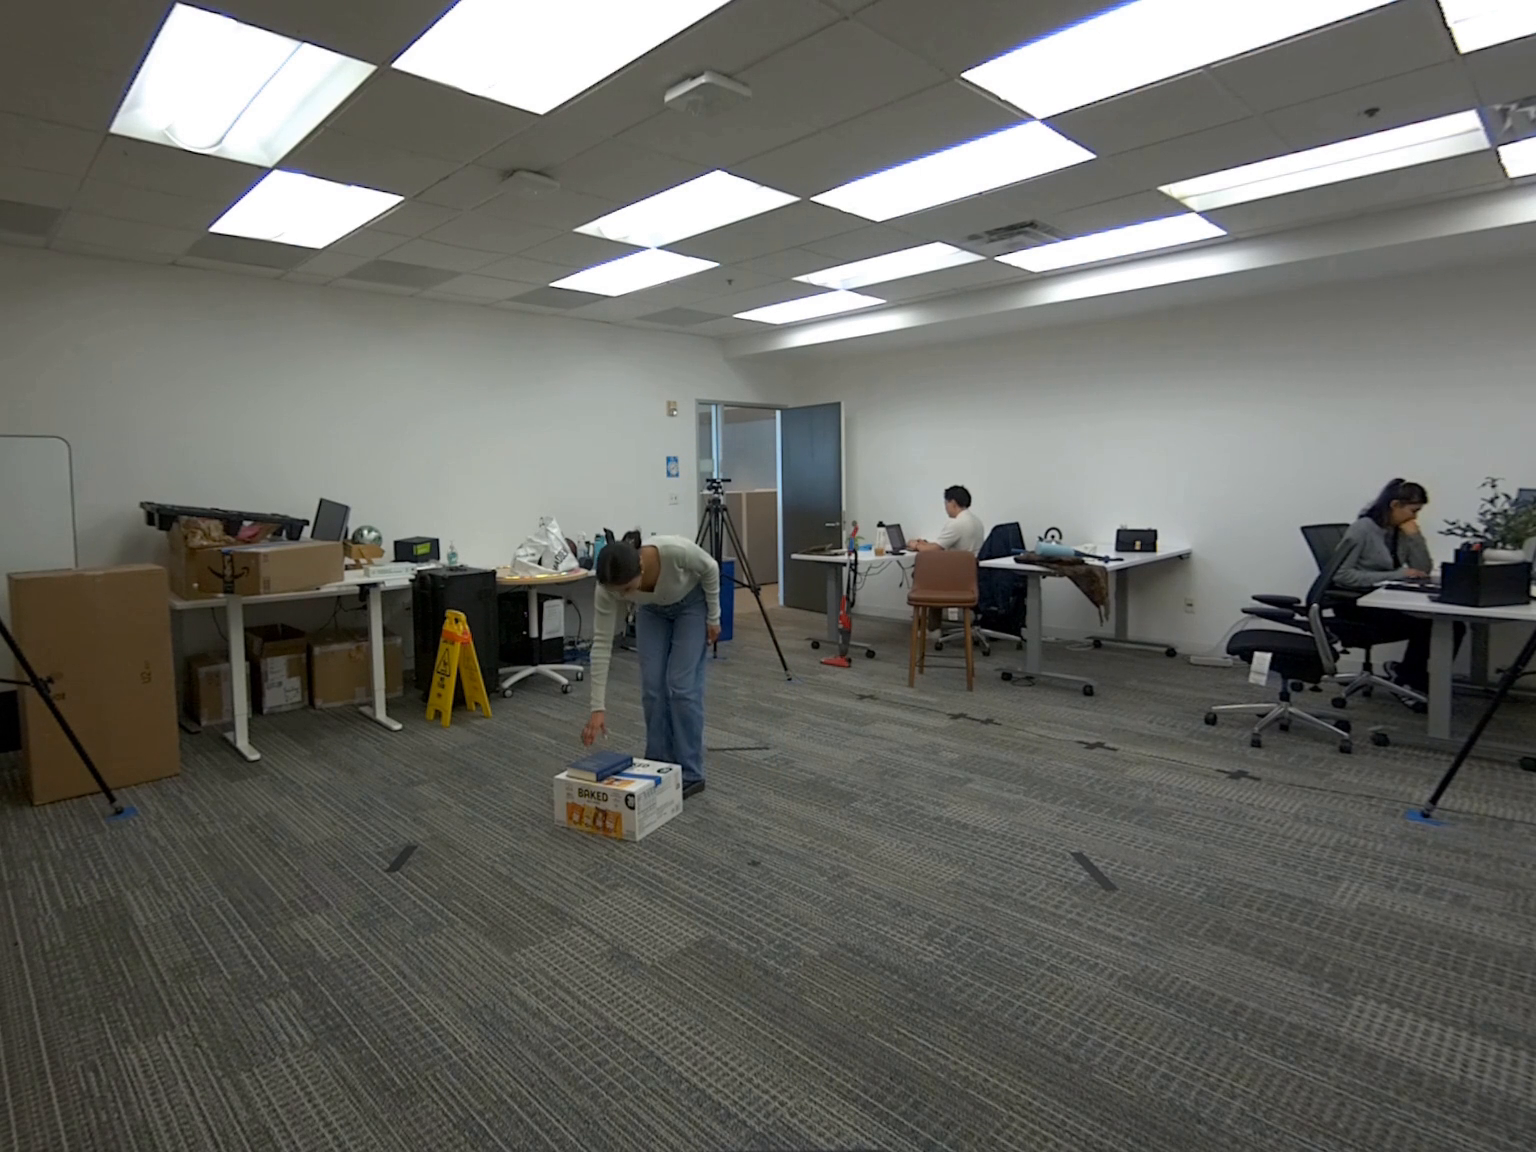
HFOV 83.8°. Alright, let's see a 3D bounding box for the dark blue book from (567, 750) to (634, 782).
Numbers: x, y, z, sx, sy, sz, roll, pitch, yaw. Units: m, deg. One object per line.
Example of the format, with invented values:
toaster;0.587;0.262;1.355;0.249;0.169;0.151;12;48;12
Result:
dark blue book;-0.699;0.787;3.545;0.167;0.045;0.240;2;7;28
